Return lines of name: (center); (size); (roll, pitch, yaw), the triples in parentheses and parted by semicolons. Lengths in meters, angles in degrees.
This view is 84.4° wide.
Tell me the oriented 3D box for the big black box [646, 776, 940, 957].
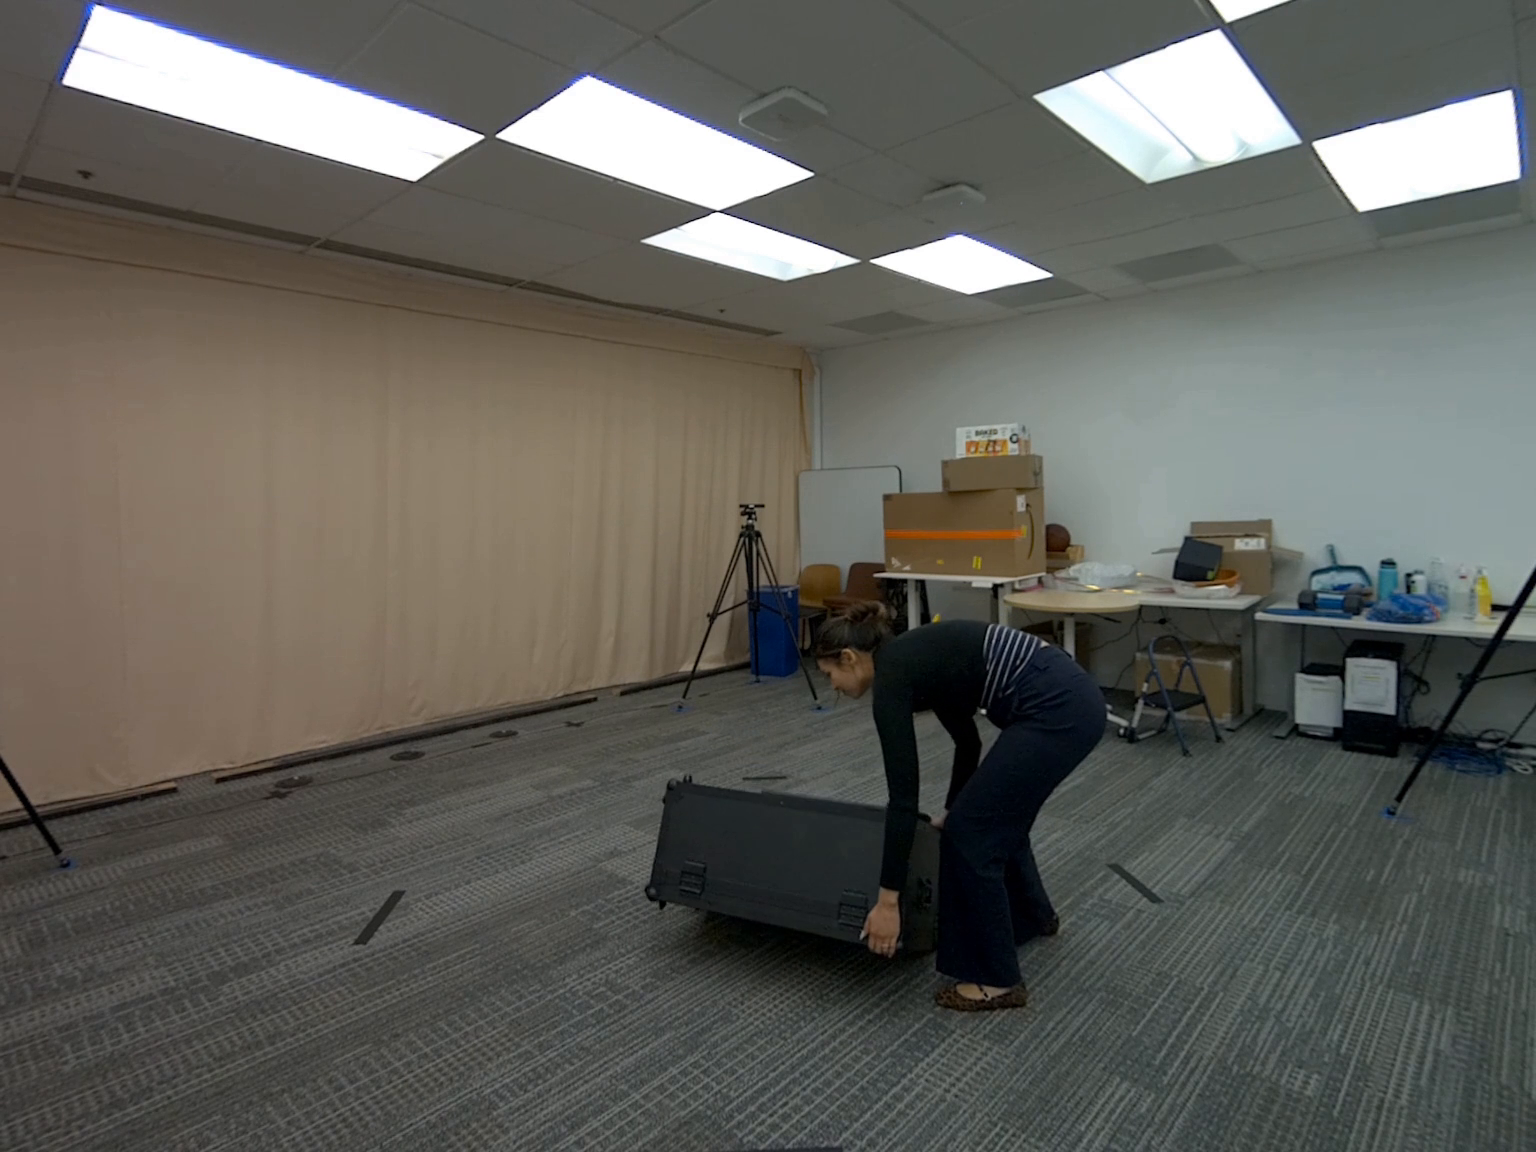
big black box: (0.070, 0.894, 2.664); (0.883, 0.399, 0.504); (1, -20, 25)
